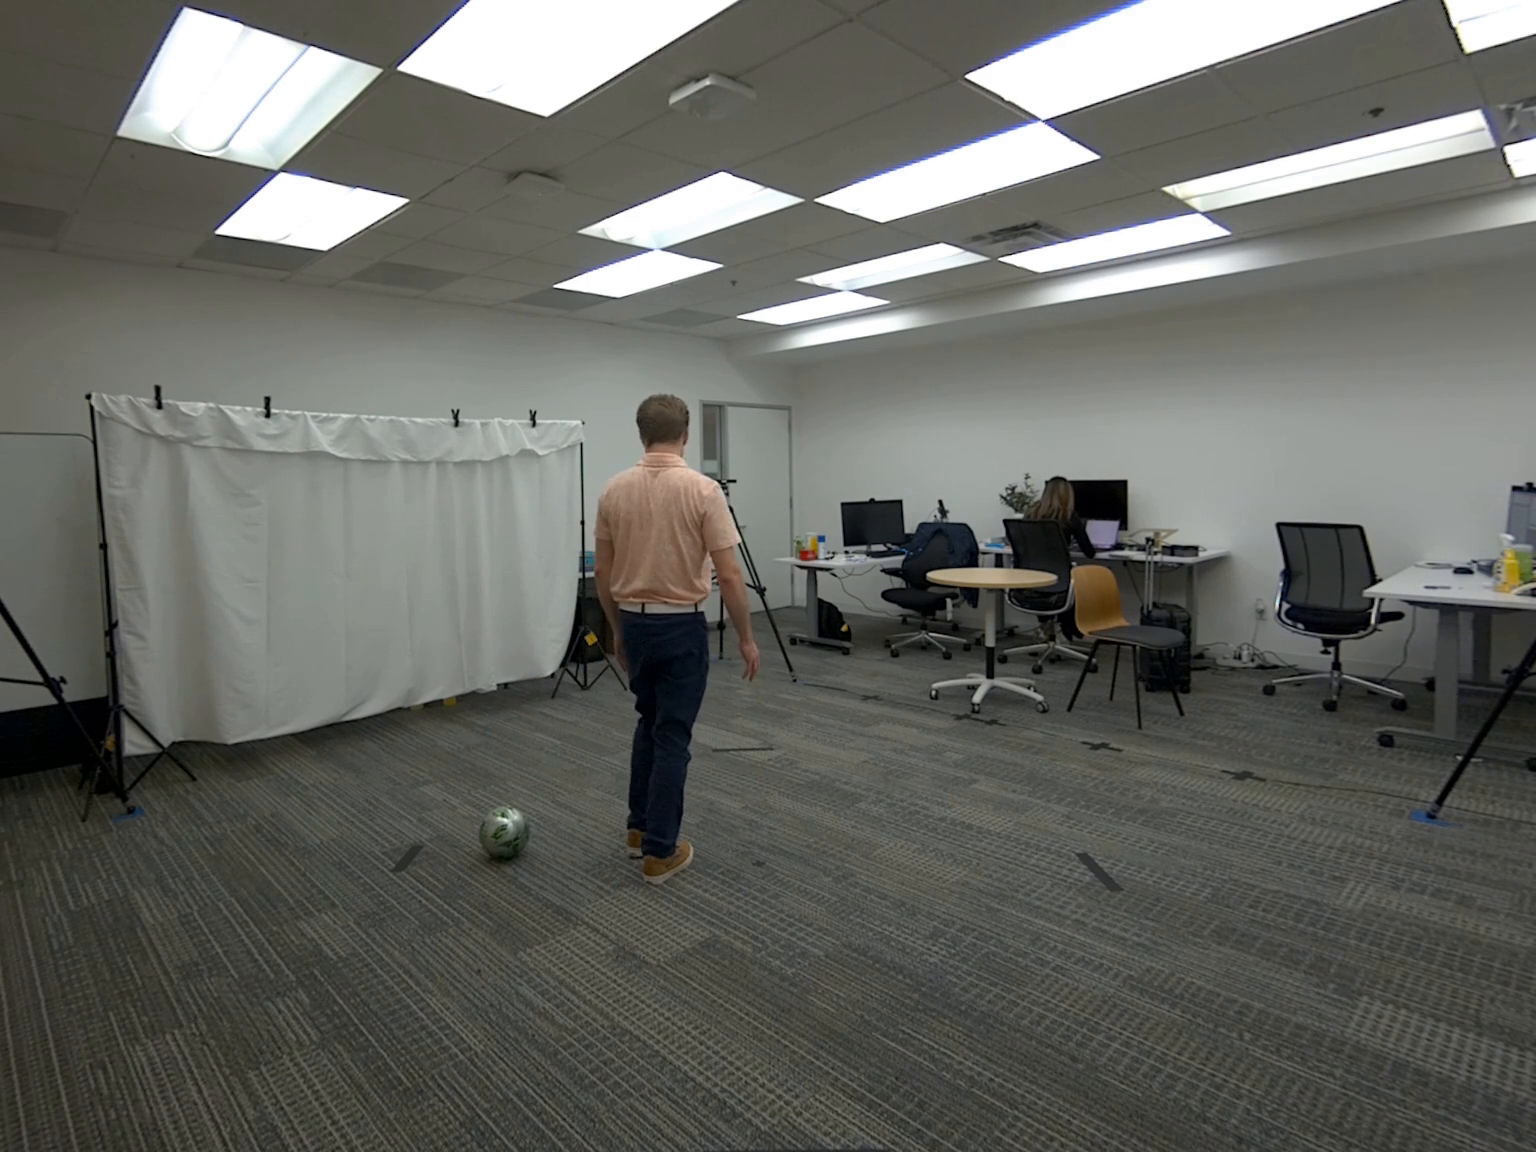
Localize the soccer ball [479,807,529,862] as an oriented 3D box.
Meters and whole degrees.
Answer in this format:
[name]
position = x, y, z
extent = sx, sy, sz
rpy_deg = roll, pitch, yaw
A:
[soccer ball]
position = -0.991, 0.969, 3.212
extent = 0.187, 0.187, 0.188
rpy_deg = -1, 5, -2
